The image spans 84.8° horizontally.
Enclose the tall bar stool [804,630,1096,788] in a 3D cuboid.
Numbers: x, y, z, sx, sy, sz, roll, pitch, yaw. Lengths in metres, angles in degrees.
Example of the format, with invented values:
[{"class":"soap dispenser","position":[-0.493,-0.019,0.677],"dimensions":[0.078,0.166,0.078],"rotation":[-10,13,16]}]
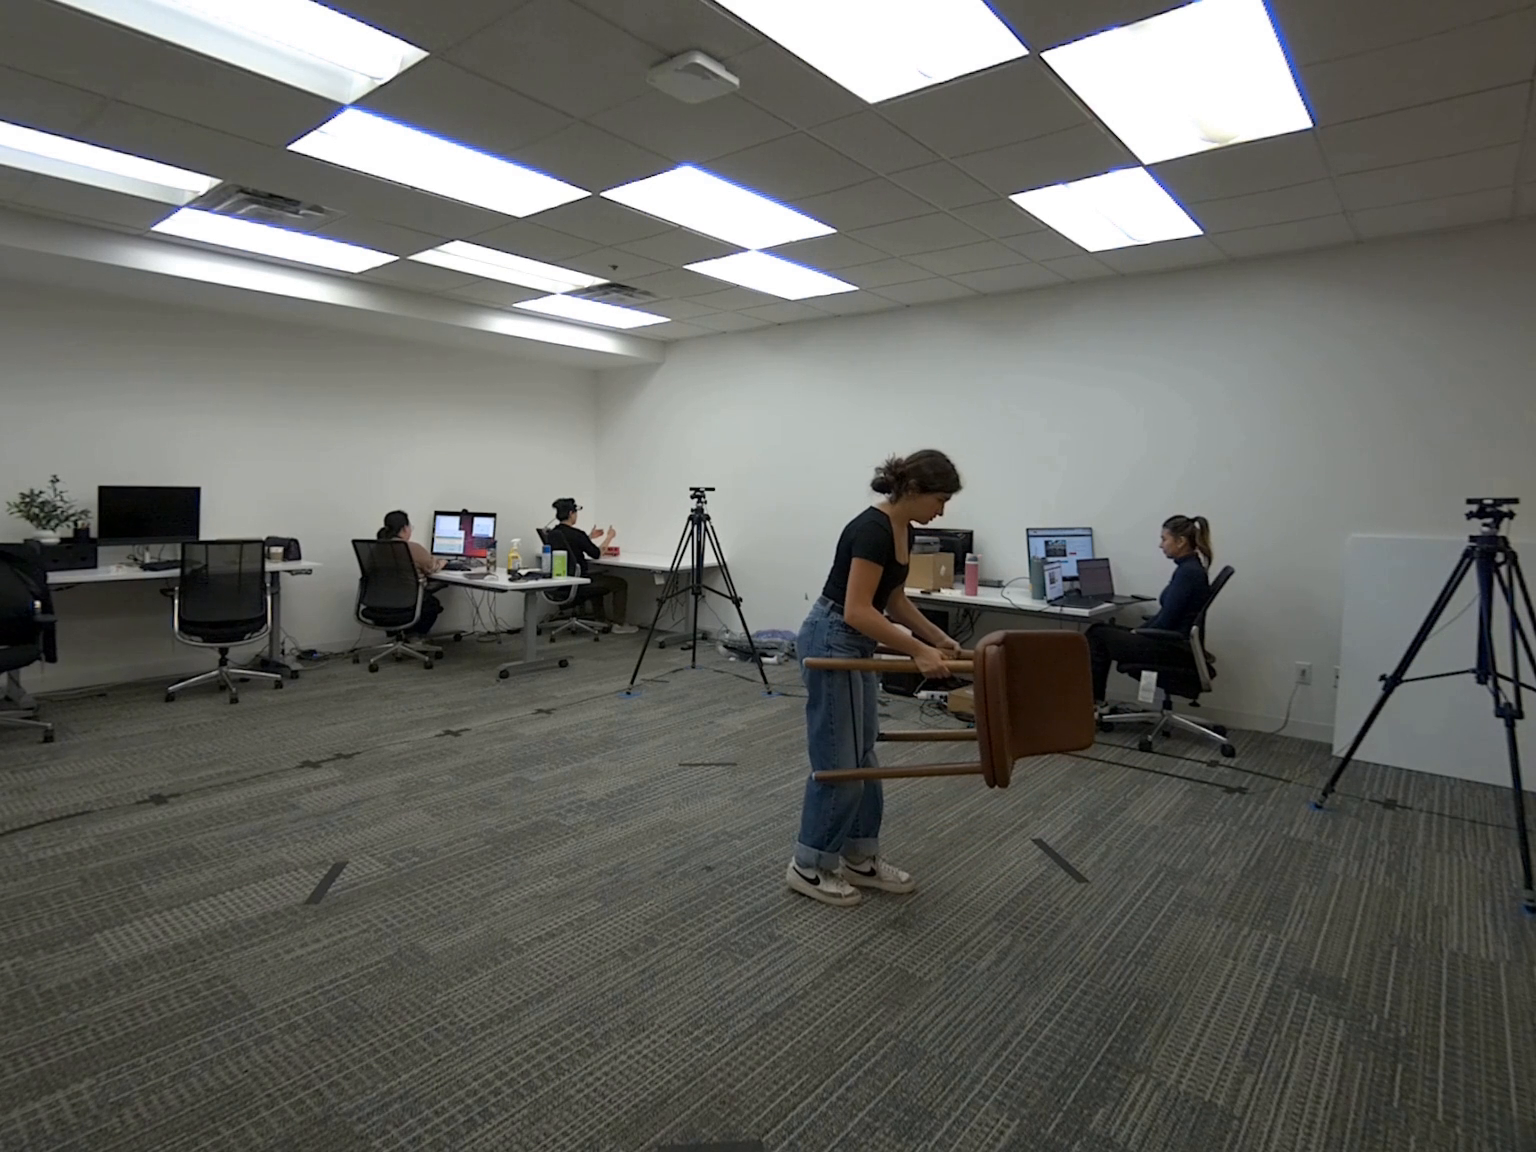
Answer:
[{"class":"tall bar stool","position":[0.616,0.431,2.848],"dimensions":[0.907,0.456,0.459],"rotation":[-3,2,20]}]
